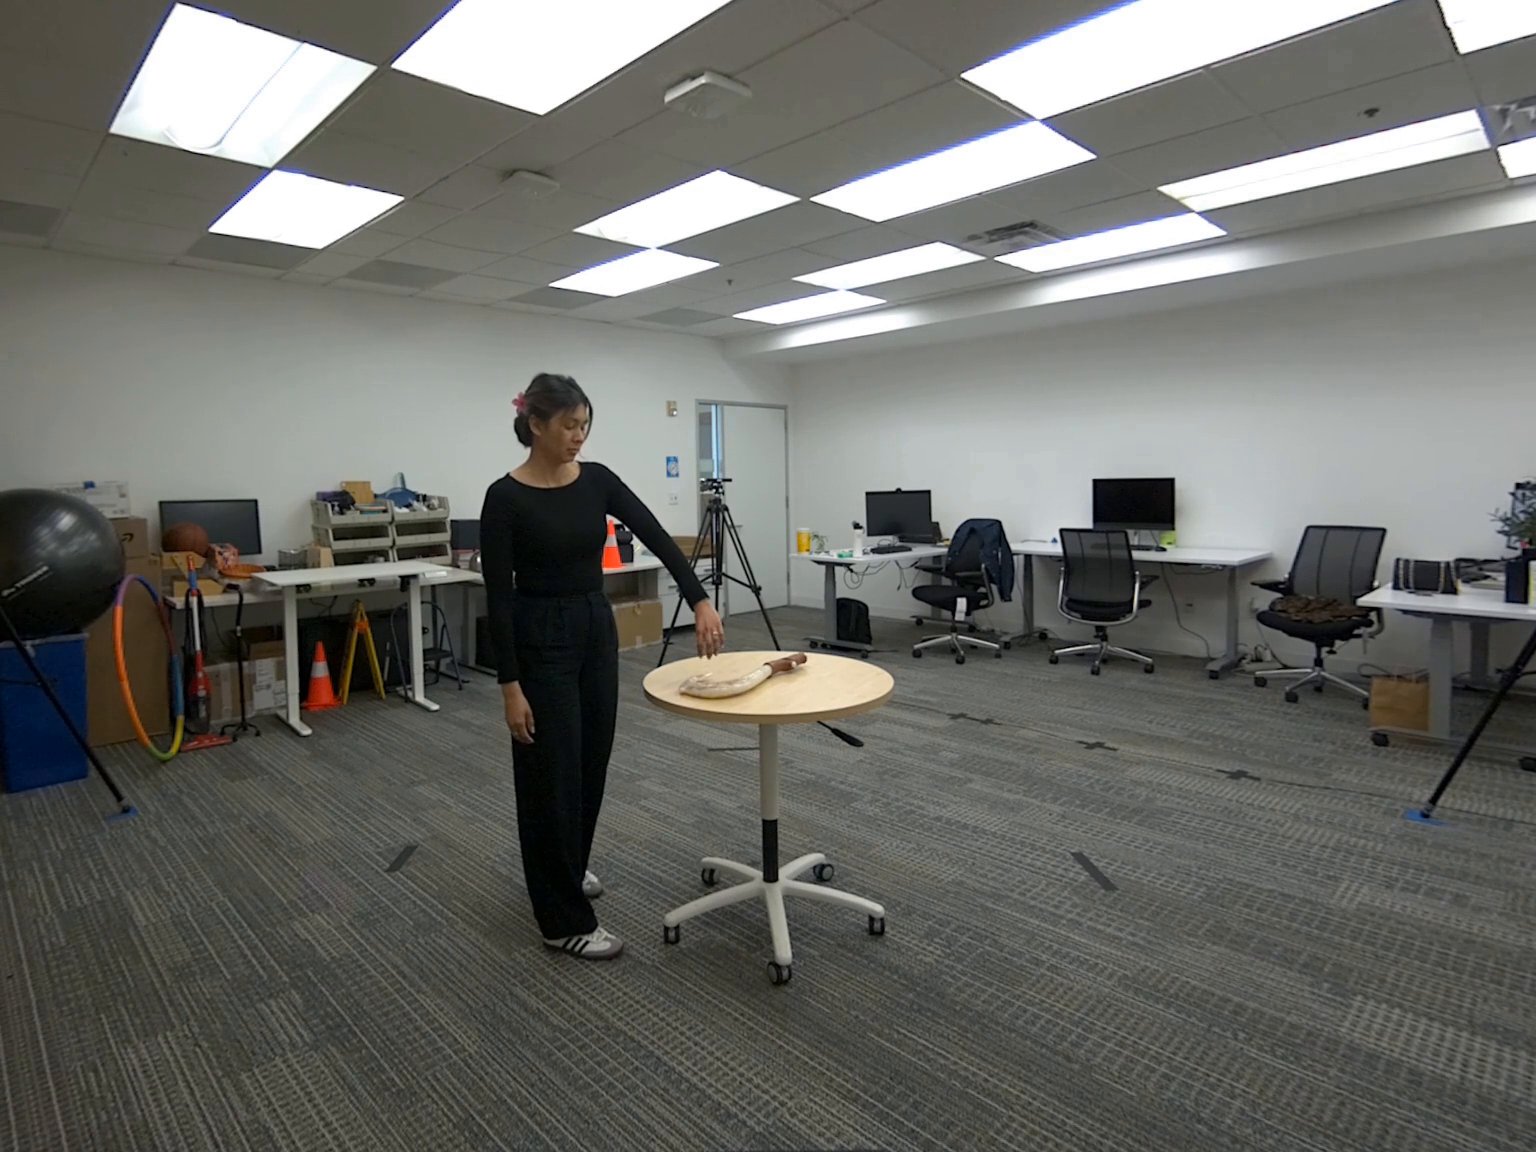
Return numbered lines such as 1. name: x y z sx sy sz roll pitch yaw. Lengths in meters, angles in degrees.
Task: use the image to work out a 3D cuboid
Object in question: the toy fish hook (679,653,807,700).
1. toy fish hook: -0.070 0.297 2.617 0.231 0.048 0.495 3 9 35
